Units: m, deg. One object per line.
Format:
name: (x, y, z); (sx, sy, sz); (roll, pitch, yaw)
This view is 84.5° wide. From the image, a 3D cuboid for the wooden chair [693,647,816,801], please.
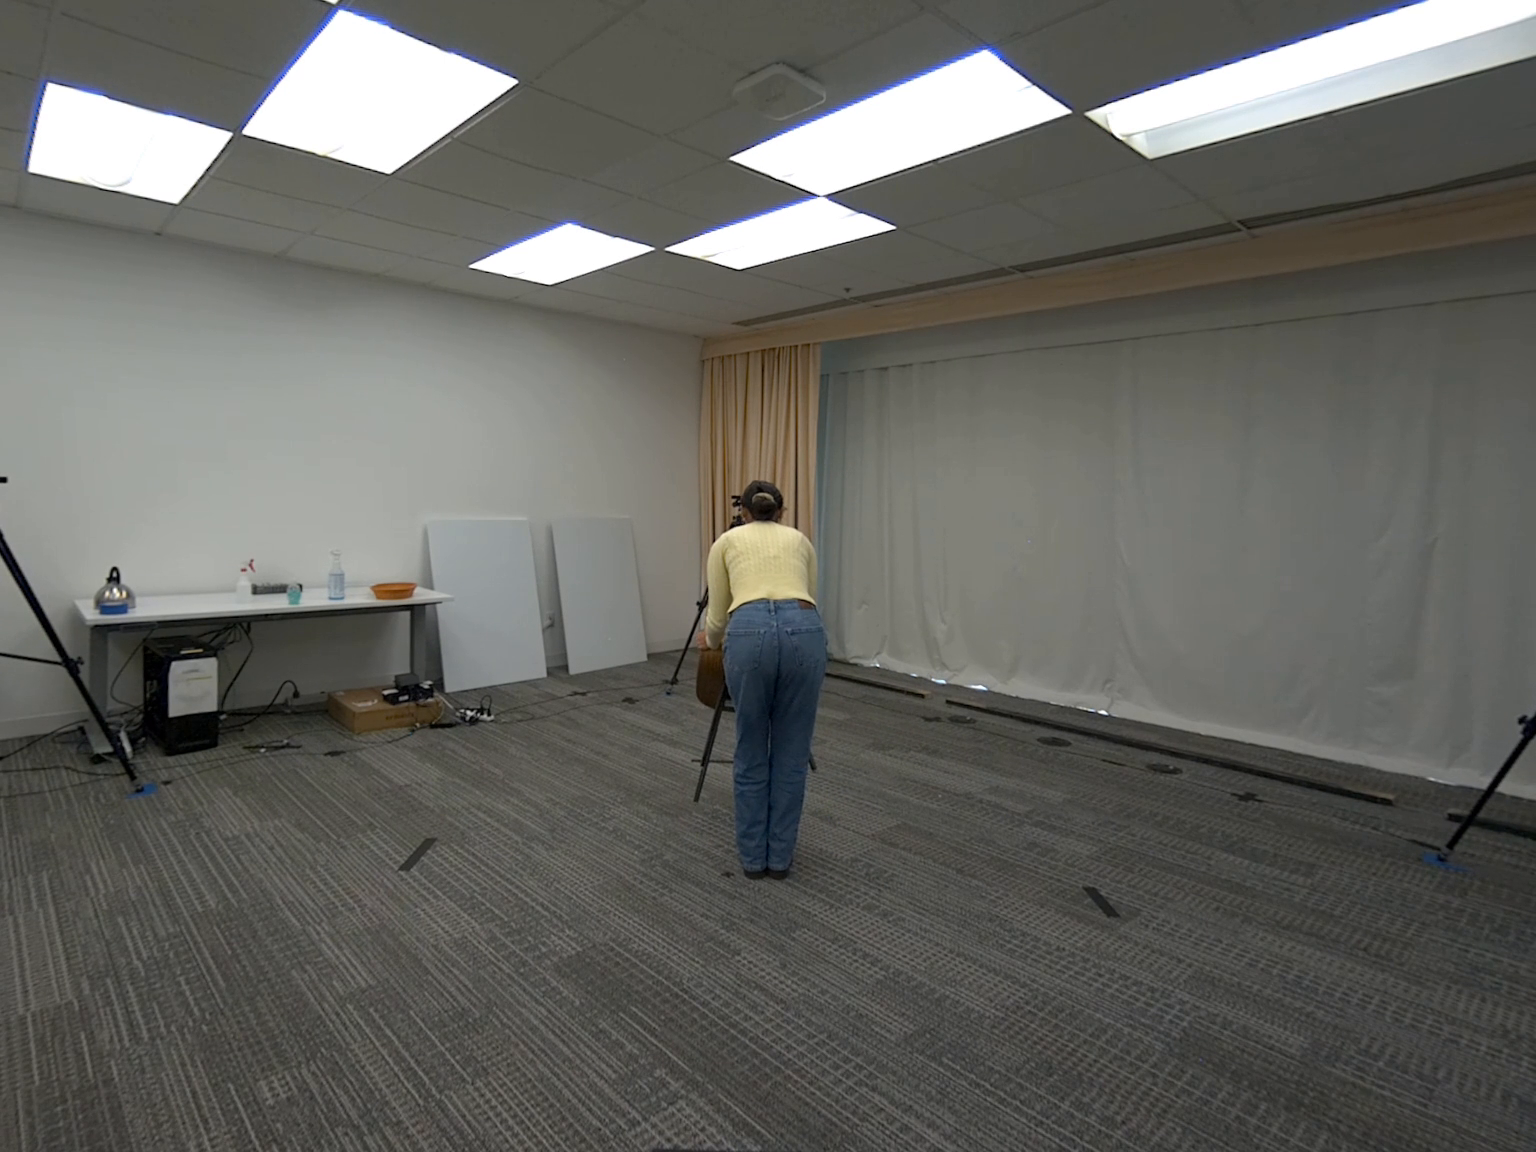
wooden chair: (-0.078, 0.498, 3.620); (0.476, 0.894, 0.515); (2, -29, -4)
